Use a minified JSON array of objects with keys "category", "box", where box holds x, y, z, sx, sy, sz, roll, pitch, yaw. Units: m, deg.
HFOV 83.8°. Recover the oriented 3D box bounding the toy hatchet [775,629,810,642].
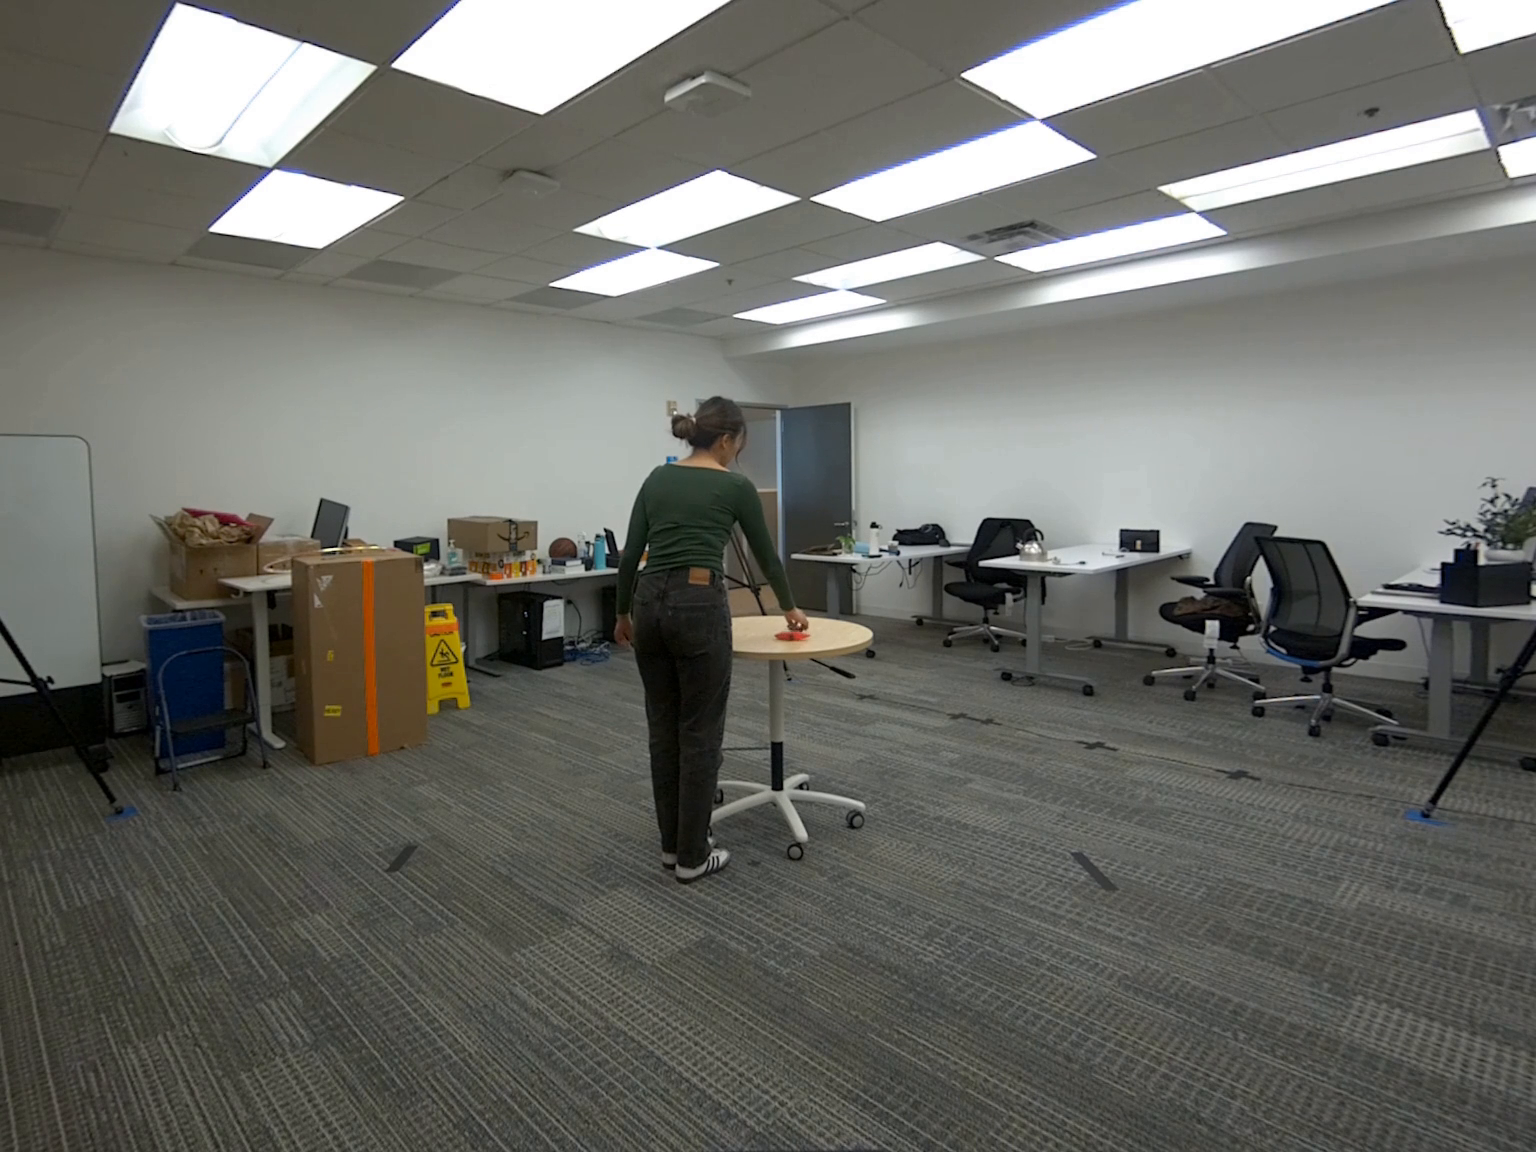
[{"category":"toy hatchet","box":[0.082,0.219,3.362,0.130,0.029,0.273,-6,6,-7]}]
